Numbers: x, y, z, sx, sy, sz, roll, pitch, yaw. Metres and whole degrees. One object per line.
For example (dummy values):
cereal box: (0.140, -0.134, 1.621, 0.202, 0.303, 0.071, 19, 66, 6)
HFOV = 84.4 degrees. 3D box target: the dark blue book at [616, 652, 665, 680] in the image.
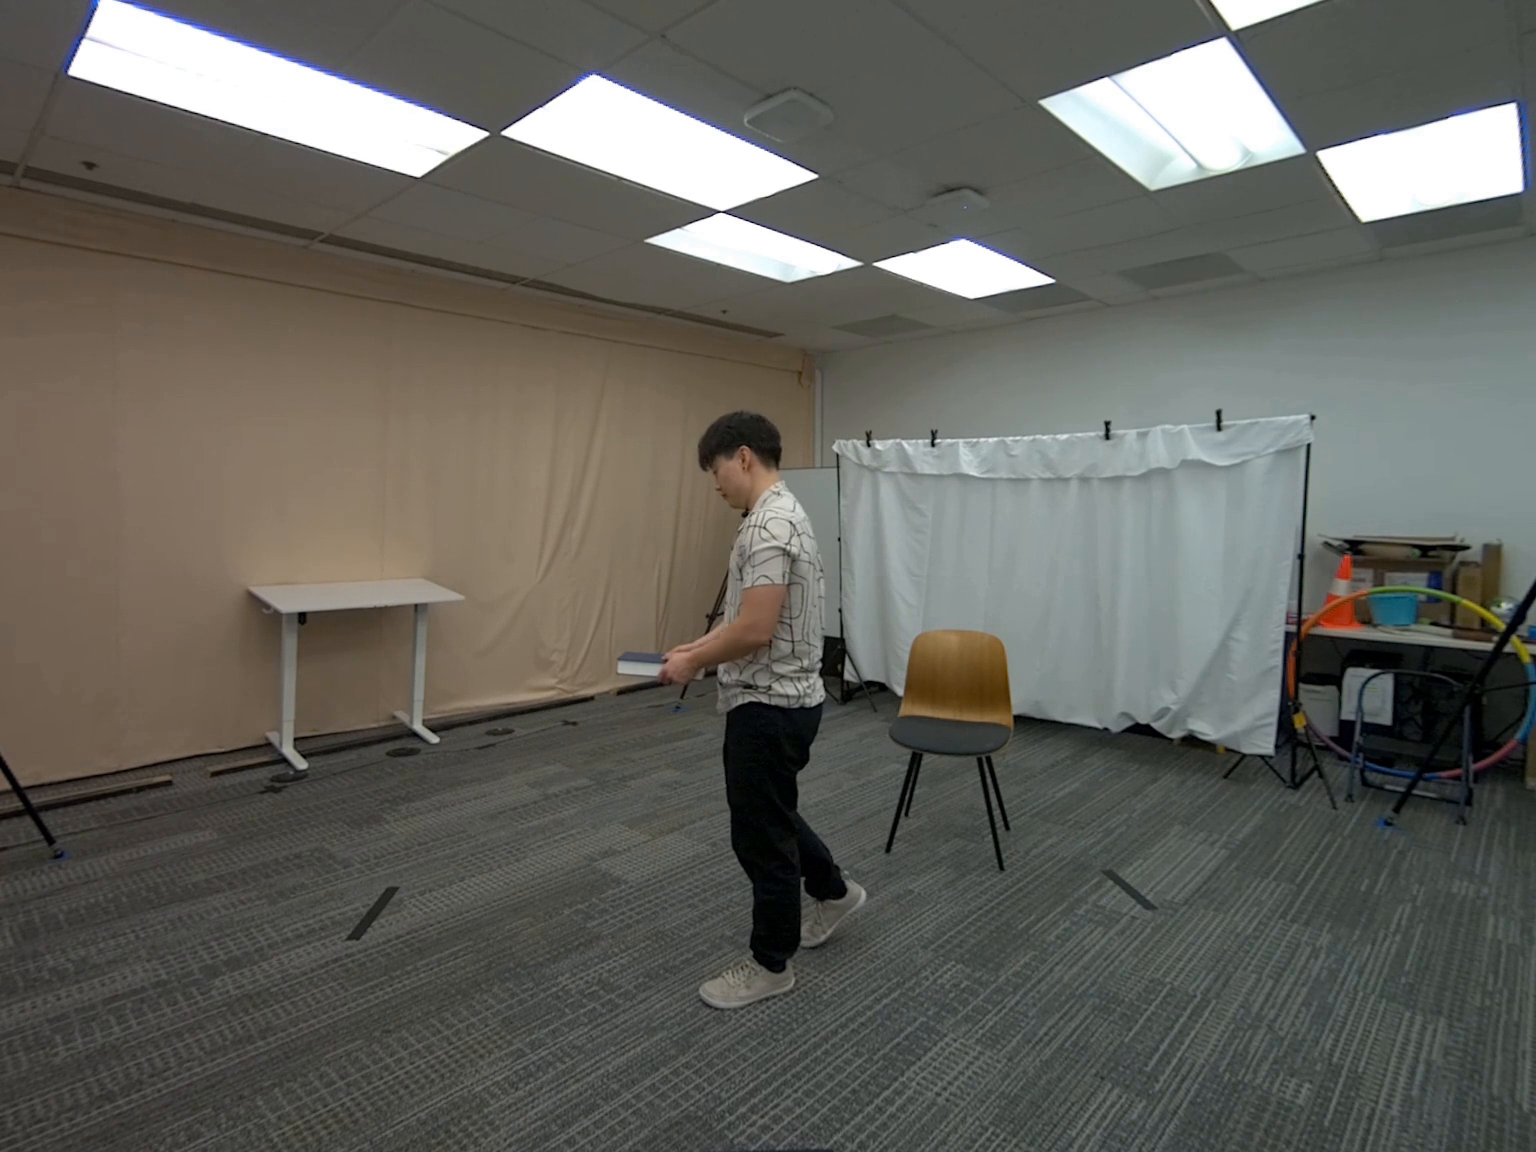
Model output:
dark blue book: (-0.295, 0.256, 2.437, 0.246, 0.045, 0.163, 4, 3, 2)
